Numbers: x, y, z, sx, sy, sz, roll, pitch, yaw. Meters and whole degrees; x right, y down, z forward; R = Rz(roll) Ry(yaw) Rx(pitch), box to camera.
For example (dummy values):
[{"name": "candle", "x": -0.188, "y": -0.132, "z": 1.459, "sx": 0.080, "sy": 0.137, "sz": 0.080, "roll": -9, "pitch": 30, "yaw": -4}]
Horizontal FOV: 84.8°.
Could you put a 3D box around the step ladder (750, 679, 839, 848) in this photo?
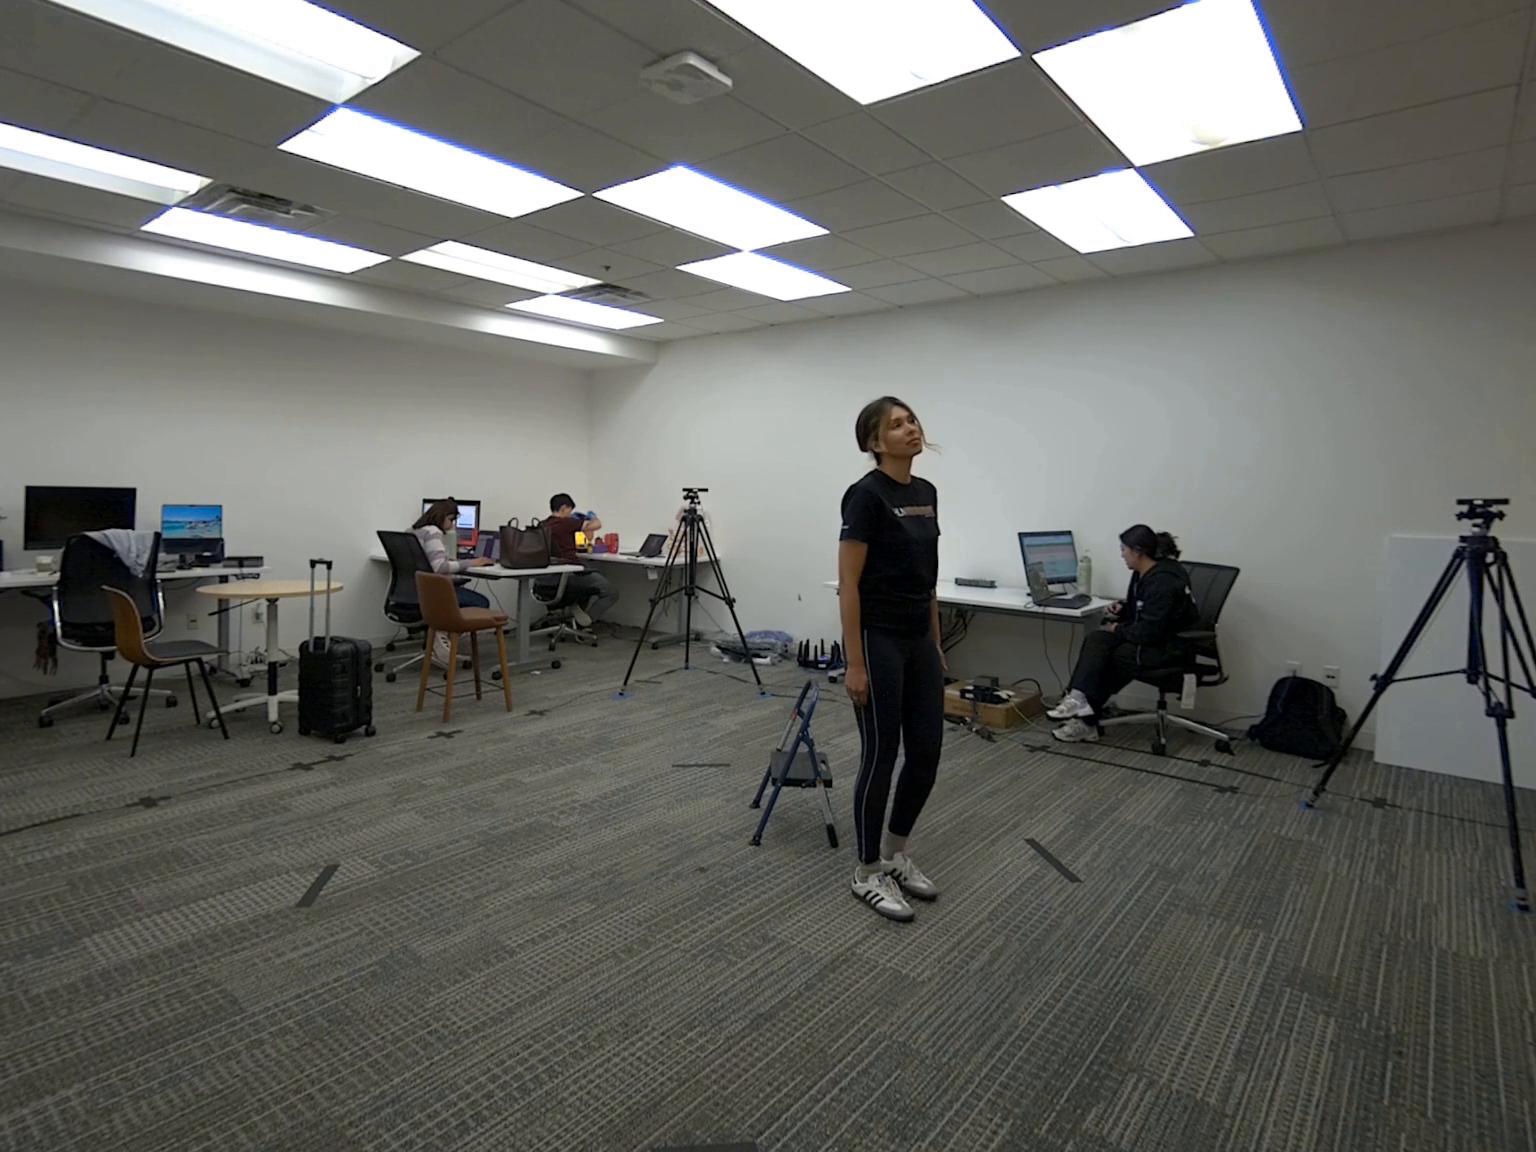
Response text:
[{"name": "step ladder", "x": 0.099, "y": 0.736, "z": 3.515, "sx": 0.350, "sy": 0.604, "sz": 0.432, "roll": 1, "pitch": 4, "yaw": 0}]
